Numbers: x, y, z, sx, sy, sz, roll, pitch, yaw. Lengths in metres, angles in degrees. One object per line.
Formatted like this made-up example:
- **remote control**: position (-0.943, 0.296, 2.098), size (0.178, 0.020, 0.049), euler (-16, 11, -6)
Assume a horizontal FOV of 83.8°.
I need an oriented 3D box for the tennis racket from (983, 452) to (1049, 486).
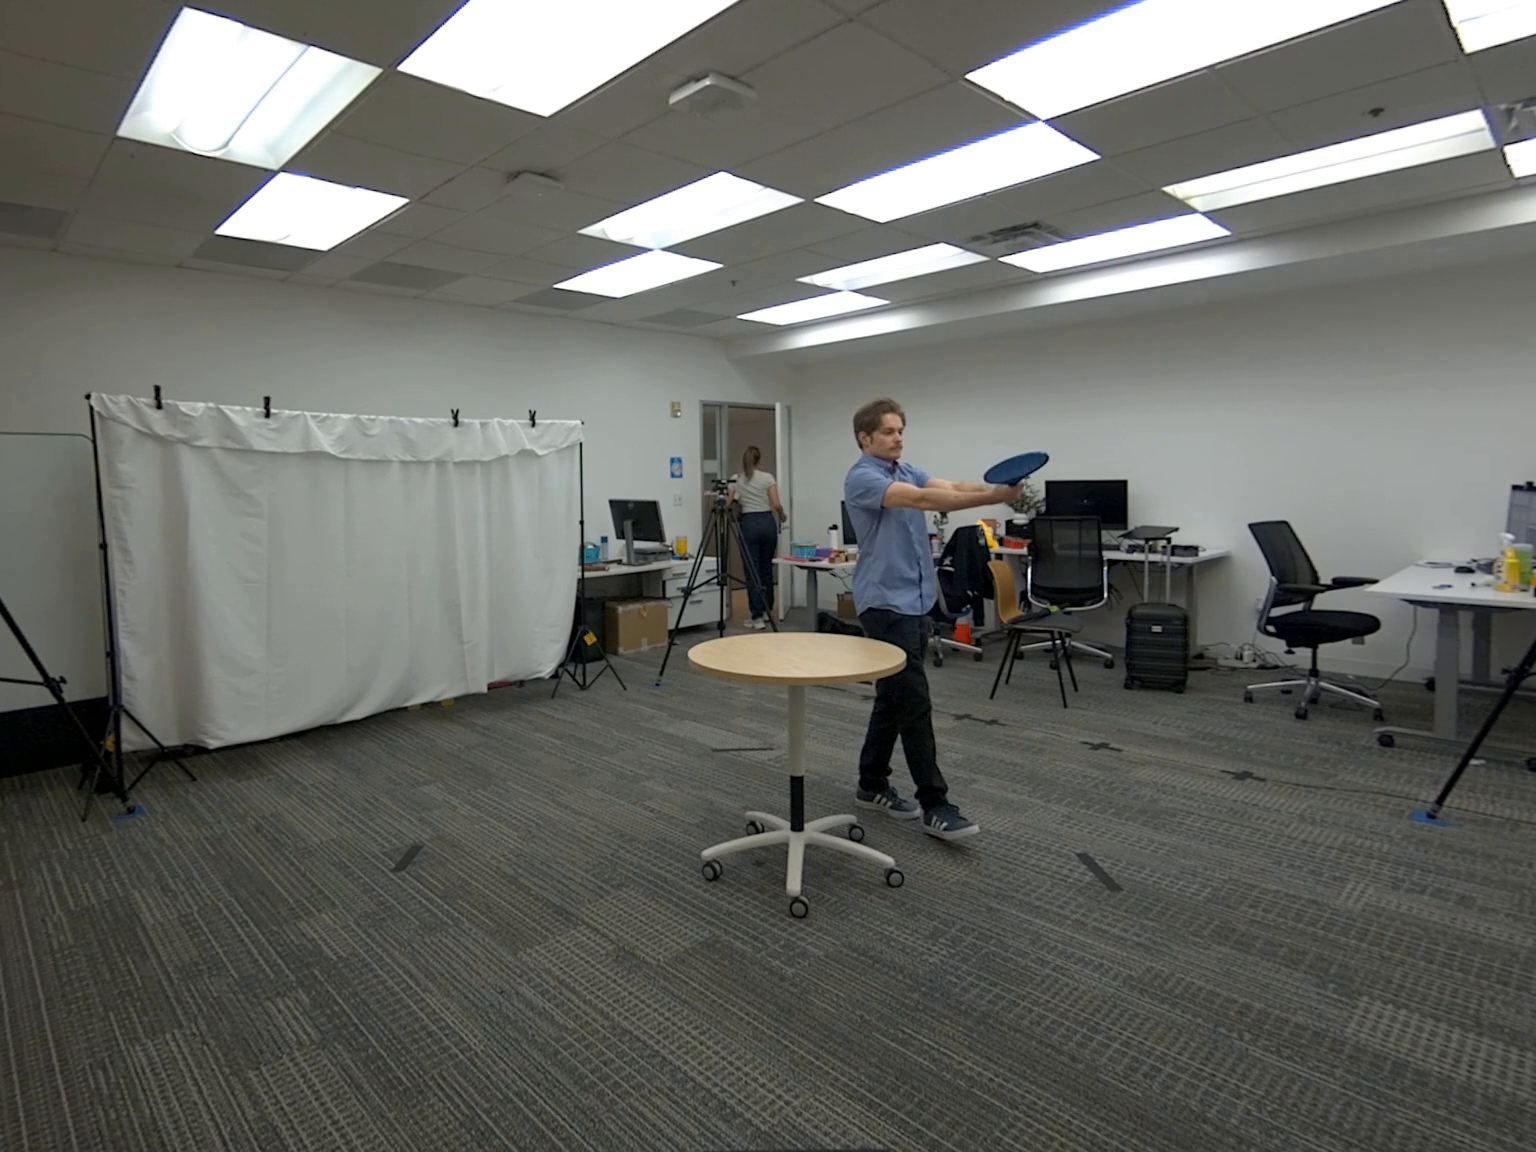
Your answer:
- **tennis racket**: position (0.835, -0.347, 2.882), size (0.216, 0.032, 0.422), euler (-18, -13, 15)
